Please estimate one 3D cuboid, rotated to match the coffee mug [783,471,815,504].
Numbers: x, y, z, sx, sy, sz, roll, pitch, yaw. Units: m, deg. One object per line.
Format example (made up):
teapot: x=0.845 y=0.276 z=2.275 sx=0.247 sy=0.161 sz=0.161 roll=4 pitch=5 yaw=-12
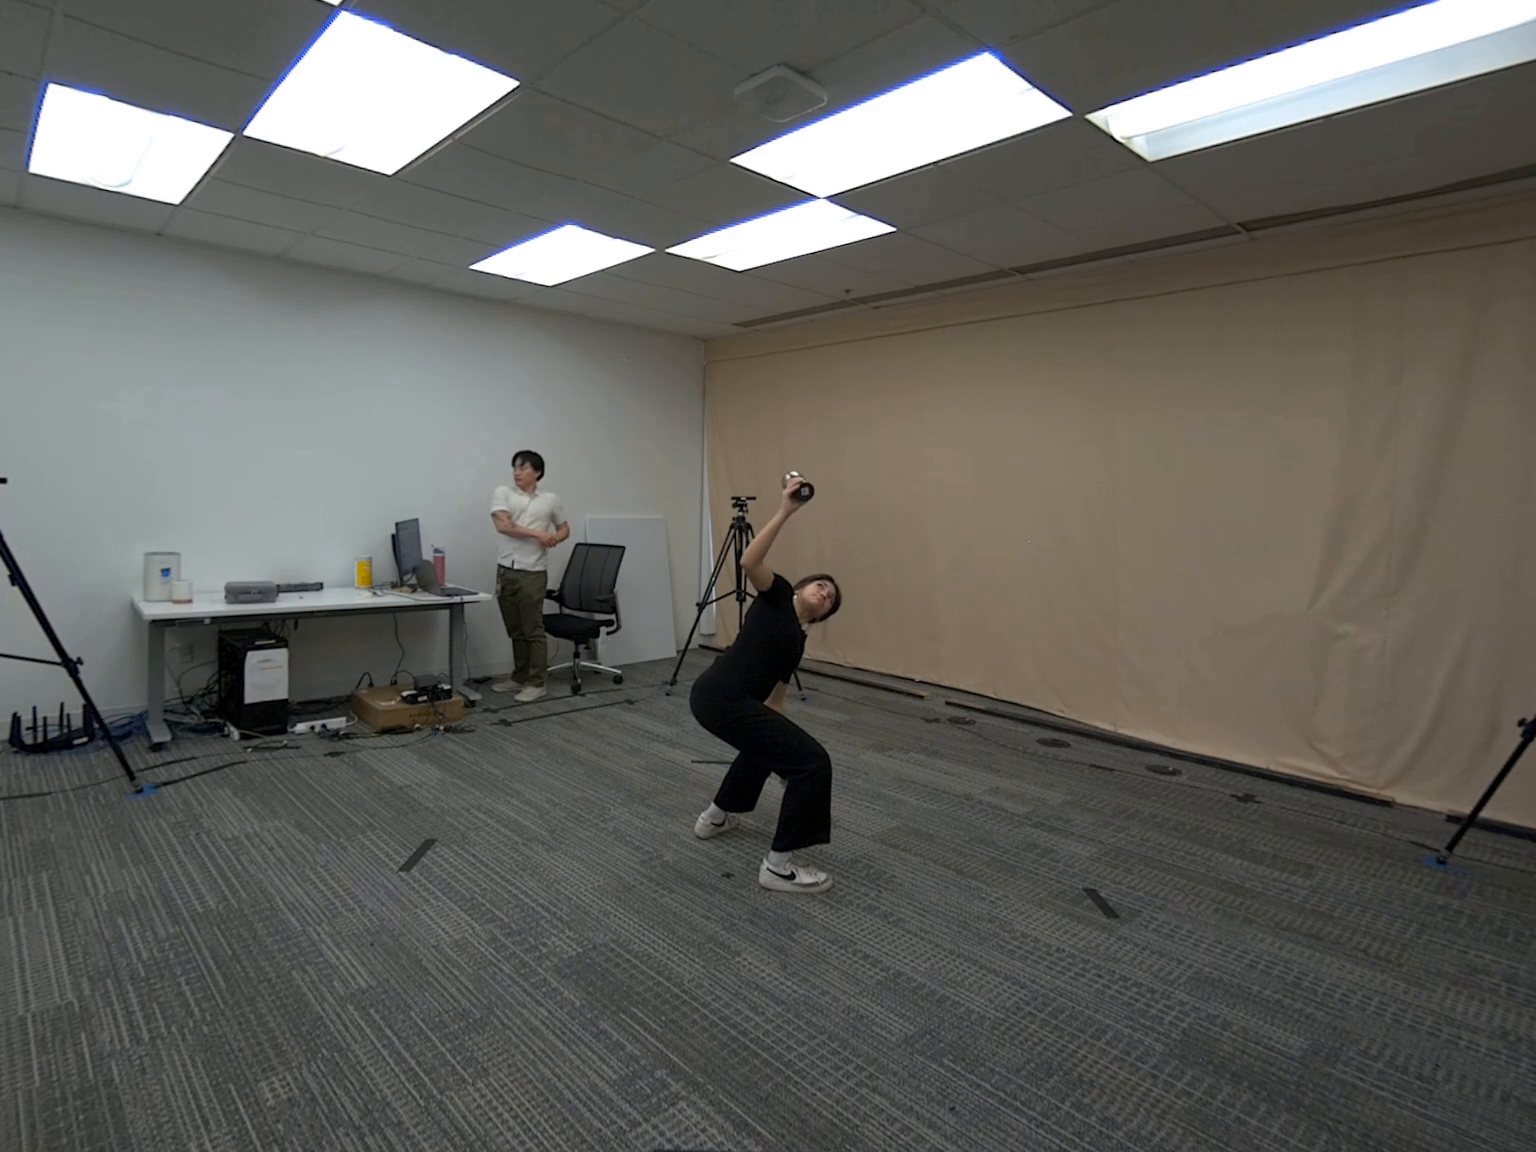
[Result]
coffee mug: x=0.121 y=-0.319 z=3.160 sx=0.087 sy=0.120 sz=0.207 roll=-22 pitch=19 yaw=-6
